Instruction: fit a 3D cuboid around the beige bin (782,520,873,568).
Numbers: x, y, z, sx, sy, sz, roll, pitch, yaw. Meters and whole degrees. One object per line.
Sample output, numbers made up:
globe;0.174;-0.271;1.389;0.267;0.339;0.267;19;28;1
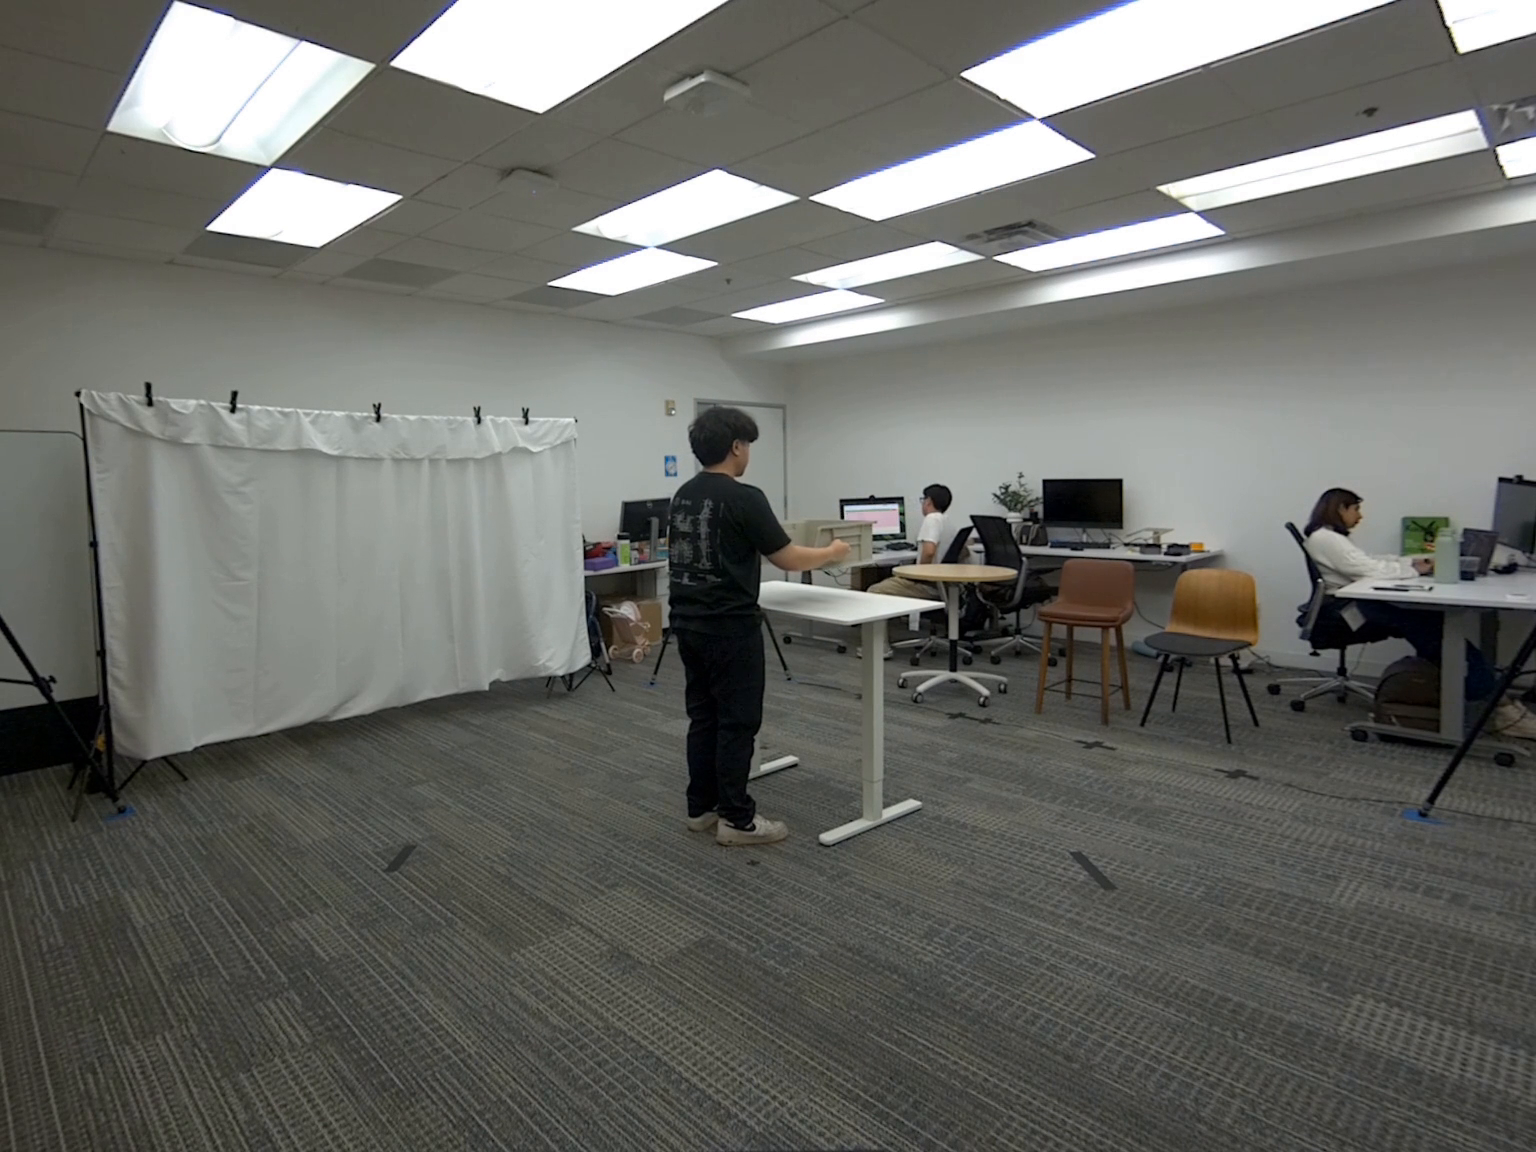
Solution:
beige bin;0.186;-0.135;3.641;0.367;0.188;0.435;-5;6;-40
